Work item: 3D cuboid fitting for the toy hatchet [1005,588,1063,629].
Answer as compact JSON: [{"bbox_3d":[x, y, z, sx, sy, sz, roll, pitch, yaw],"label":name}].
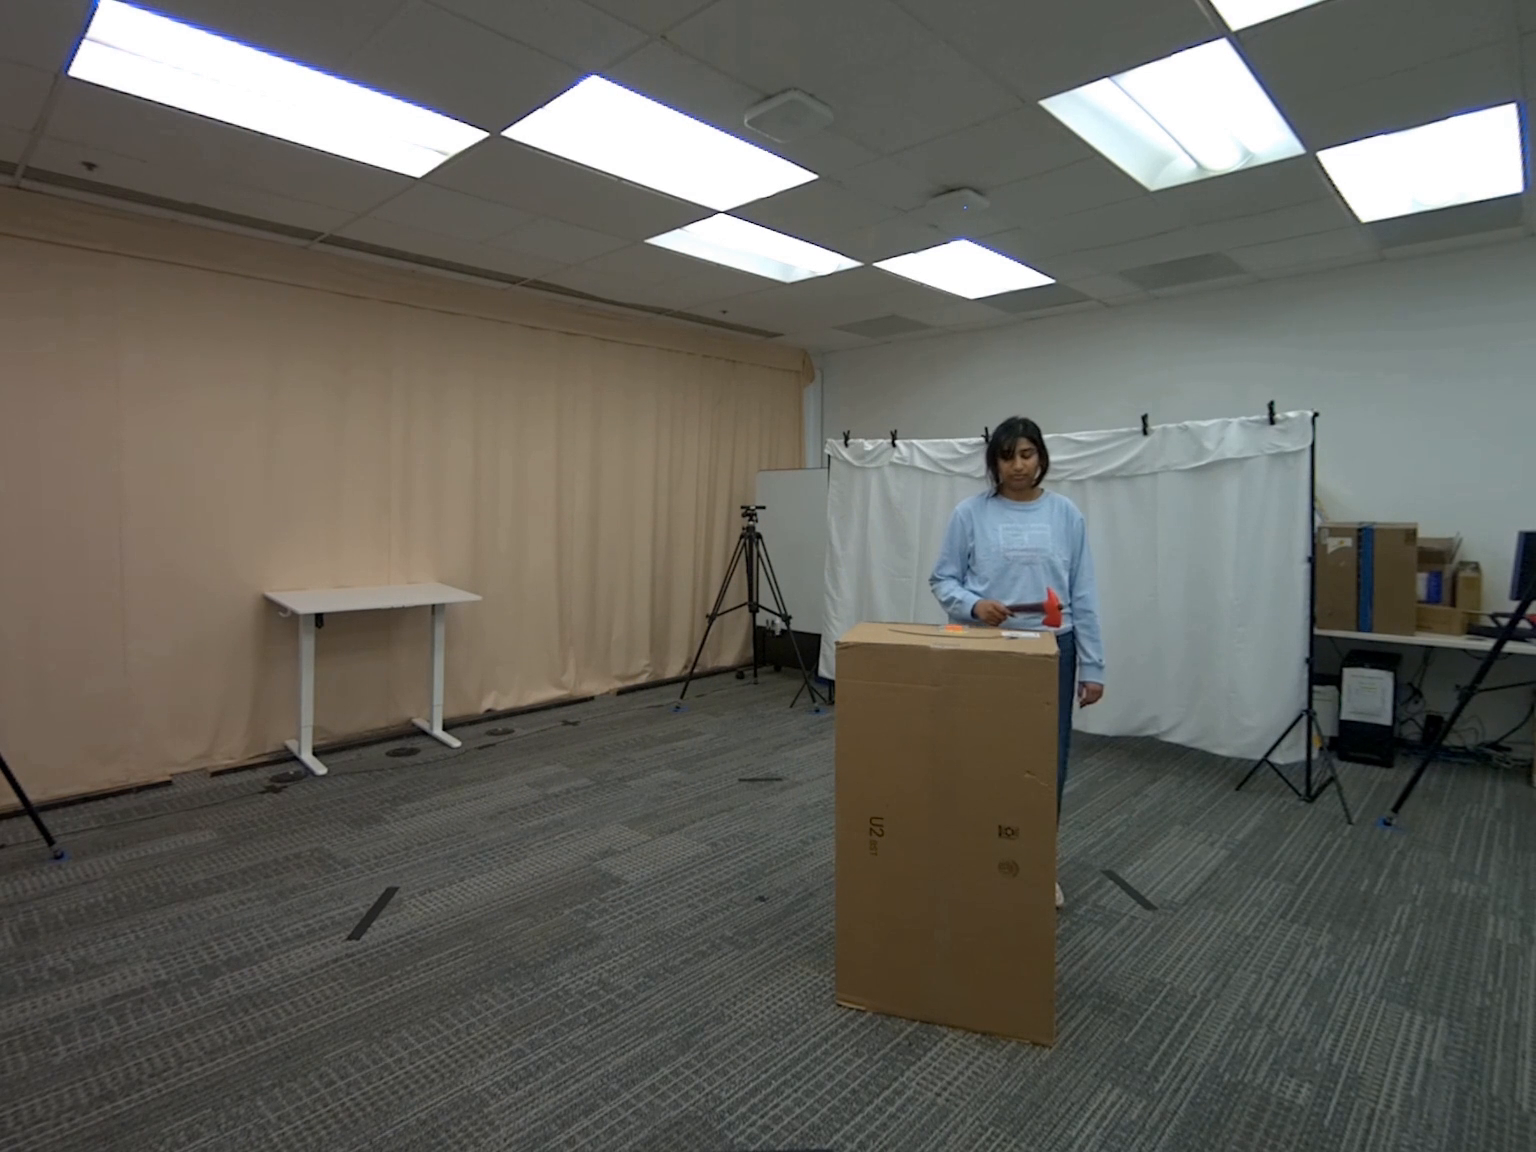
[{"bbox_3d":[0.834,0.136,2.713,0.029,0.132,0.273,-27,-6,-37],"label":"toy hatchet"}]
